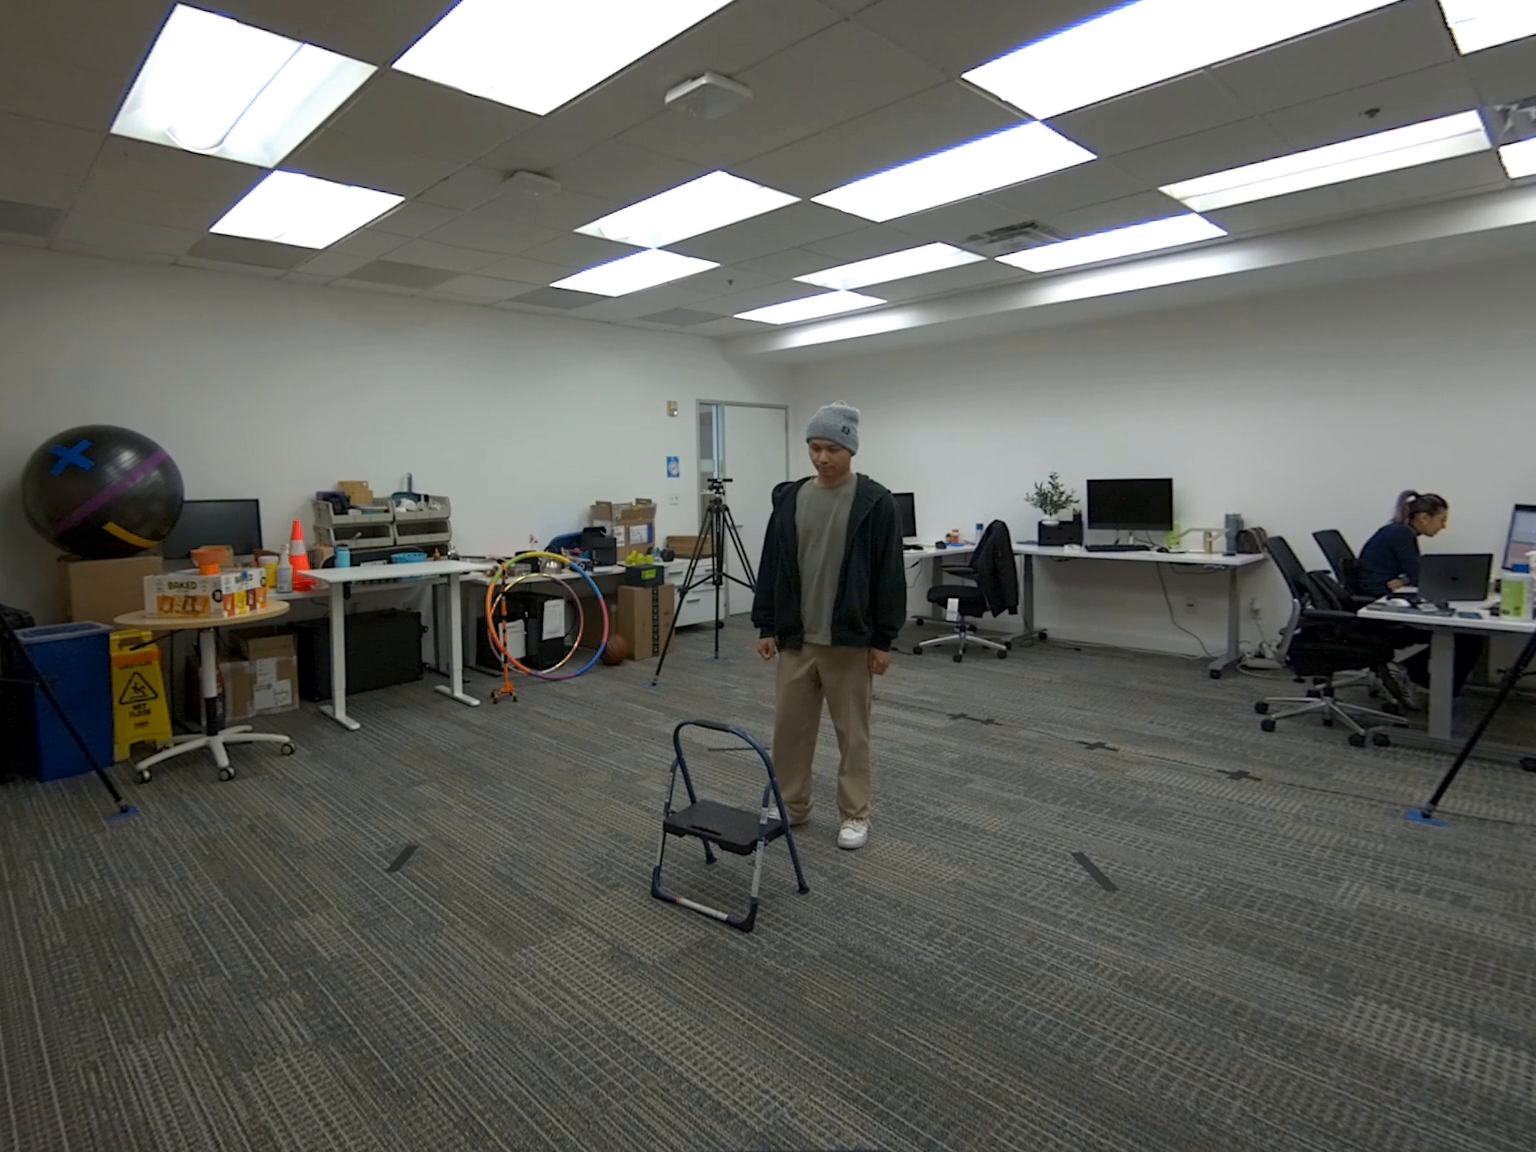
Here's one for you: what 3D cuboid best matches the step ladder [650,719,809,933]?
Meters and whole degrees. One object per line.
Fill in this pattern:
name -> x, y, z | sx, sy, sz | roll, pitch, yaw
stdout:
step ladder -> -0.136, 0.770, 2.867 | 0.443, 0.604, 0.341 | 2, 5, 35
